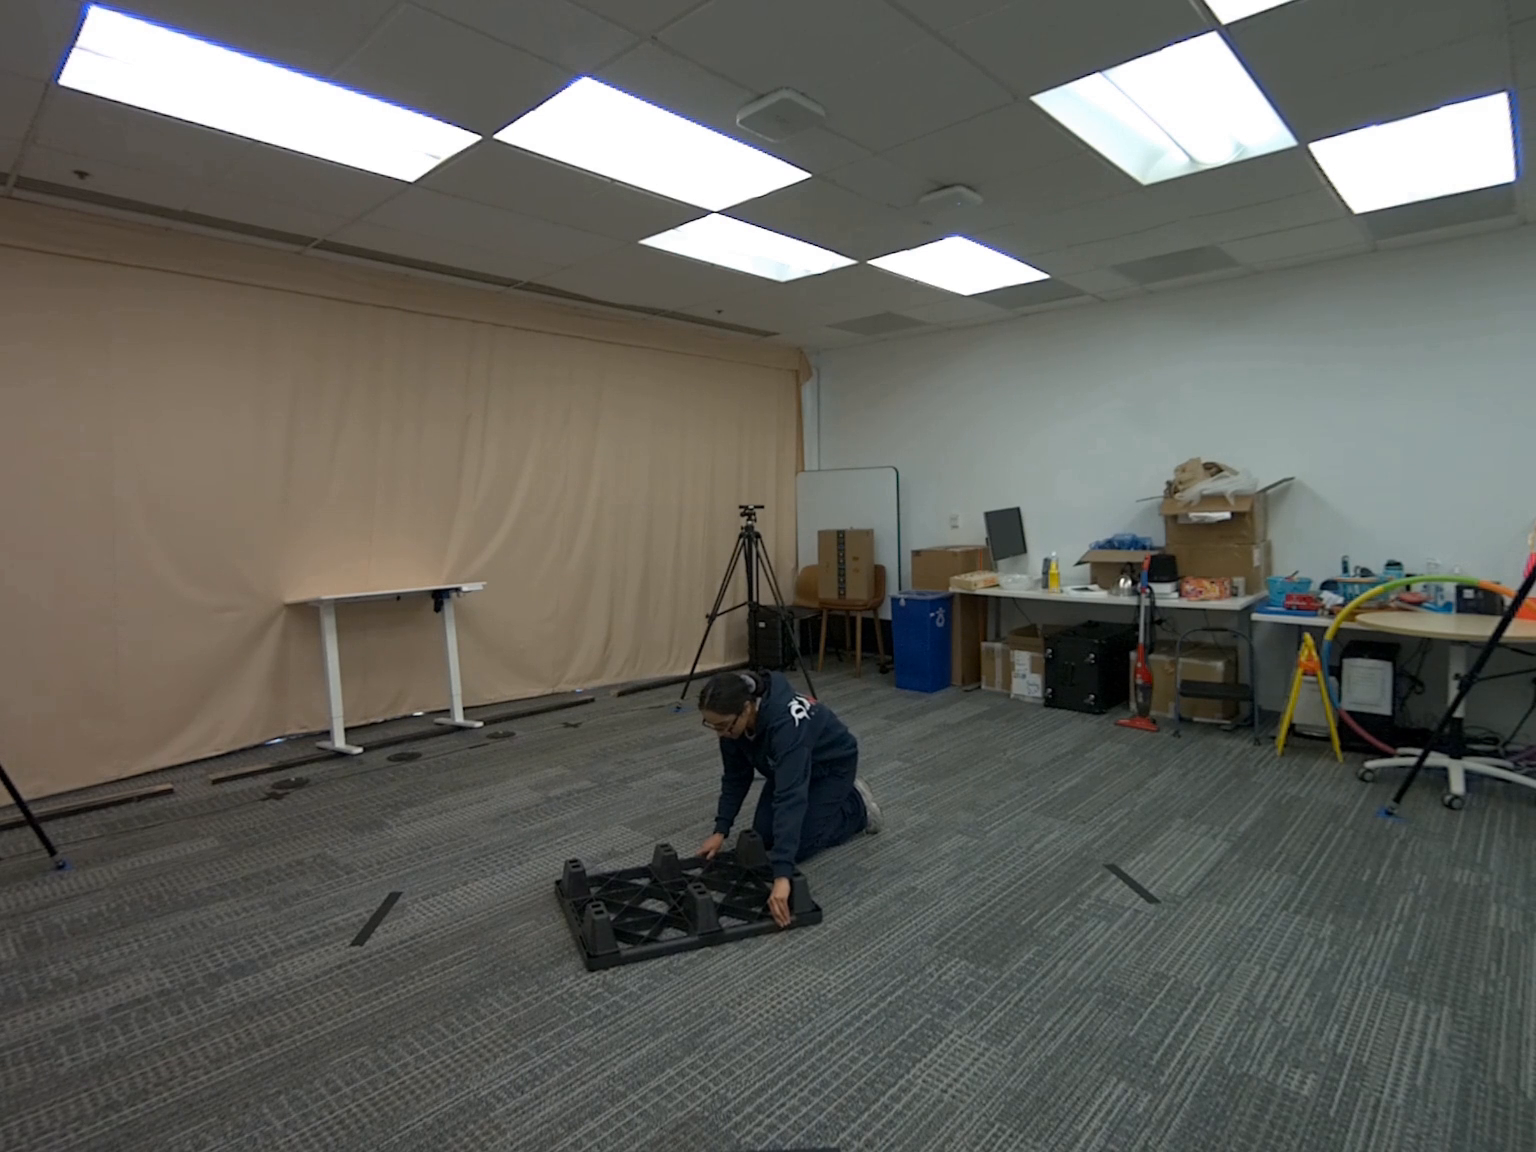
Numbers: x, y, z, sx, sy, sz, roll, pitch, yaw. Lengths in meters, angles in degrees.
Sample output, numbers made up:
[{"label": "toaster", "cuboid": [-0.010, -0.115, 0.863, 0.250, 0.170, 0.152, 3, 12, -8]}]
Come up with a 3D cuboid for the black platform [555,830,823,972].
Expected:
[{"label": "black platform", "cuboid": [-0.301, 1.084, 2.942, 0.788, 0.143, 0.620, -3, 5, -23]}]
